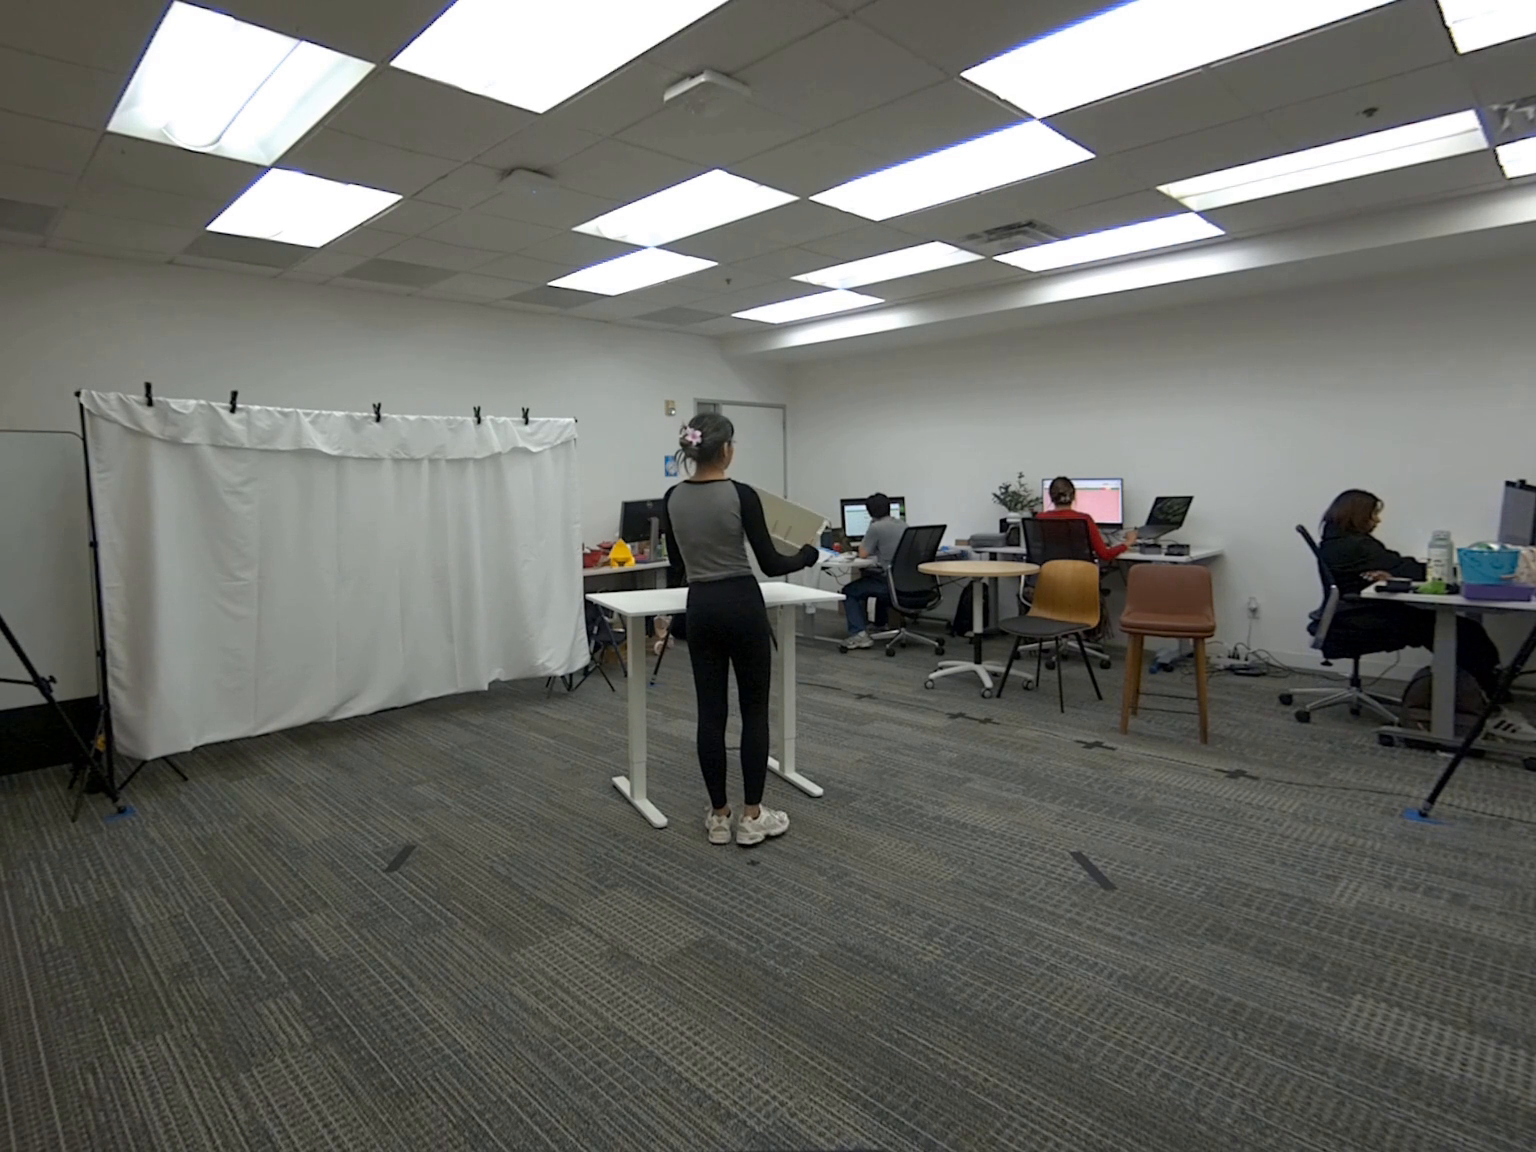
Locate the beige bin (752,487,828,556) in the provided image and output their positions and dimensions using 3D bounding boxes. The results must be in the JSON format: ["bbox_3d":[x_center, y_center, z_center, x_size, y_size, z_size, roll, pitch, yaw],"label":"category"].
[{"bbox_3d":[0.023,-0.219,3.639,0.426,0.188,0.377,24,14,6],"label":"beige bin"}]
